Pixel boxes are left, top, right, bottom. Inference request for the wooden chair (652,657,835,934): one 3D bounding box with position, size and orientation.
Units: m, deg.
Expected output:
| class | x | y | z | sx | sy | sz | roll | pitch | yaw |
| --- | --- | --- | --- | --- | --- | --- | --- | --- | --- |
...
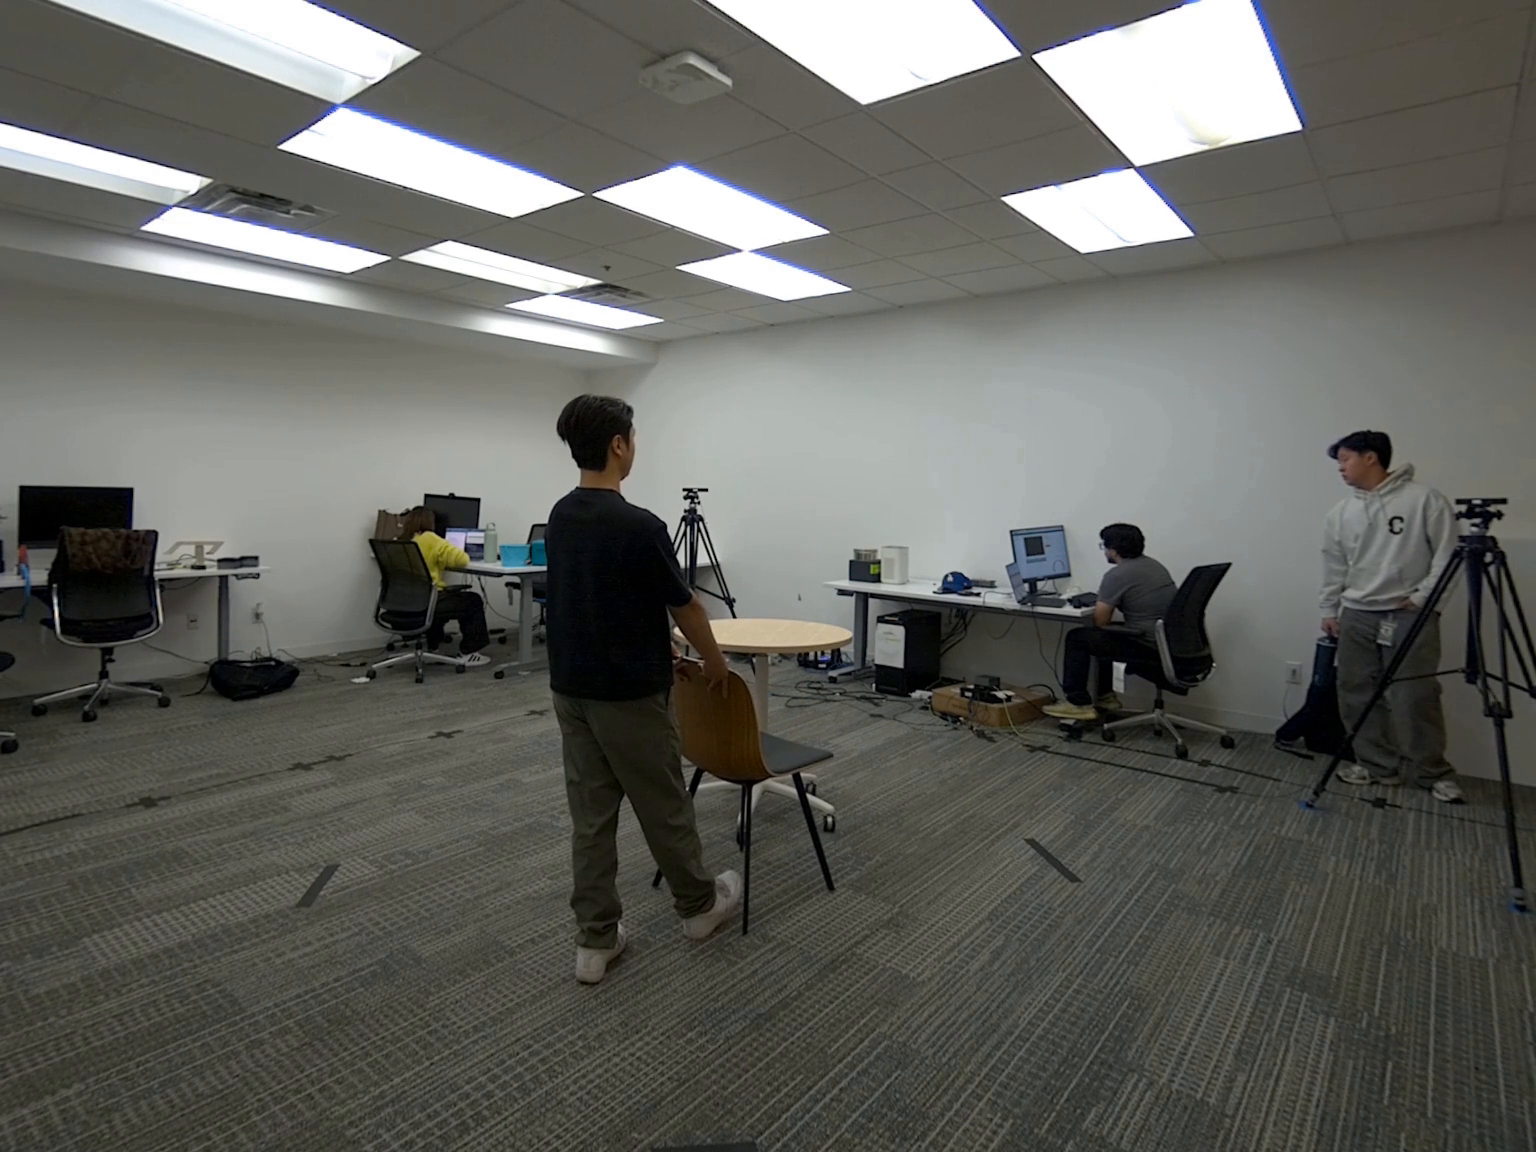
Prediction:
| class | x | y | z | sx | sy | sz | roll | pitch | yaw |
| --- | --- | --- | --- | --- | --- | --- | --- | --- | --- |
| wooden chair | -0.080 | 0.657 | 2.943 | 0.494 | 0.872 | 0.509 | 3 | 8 | 43 |
